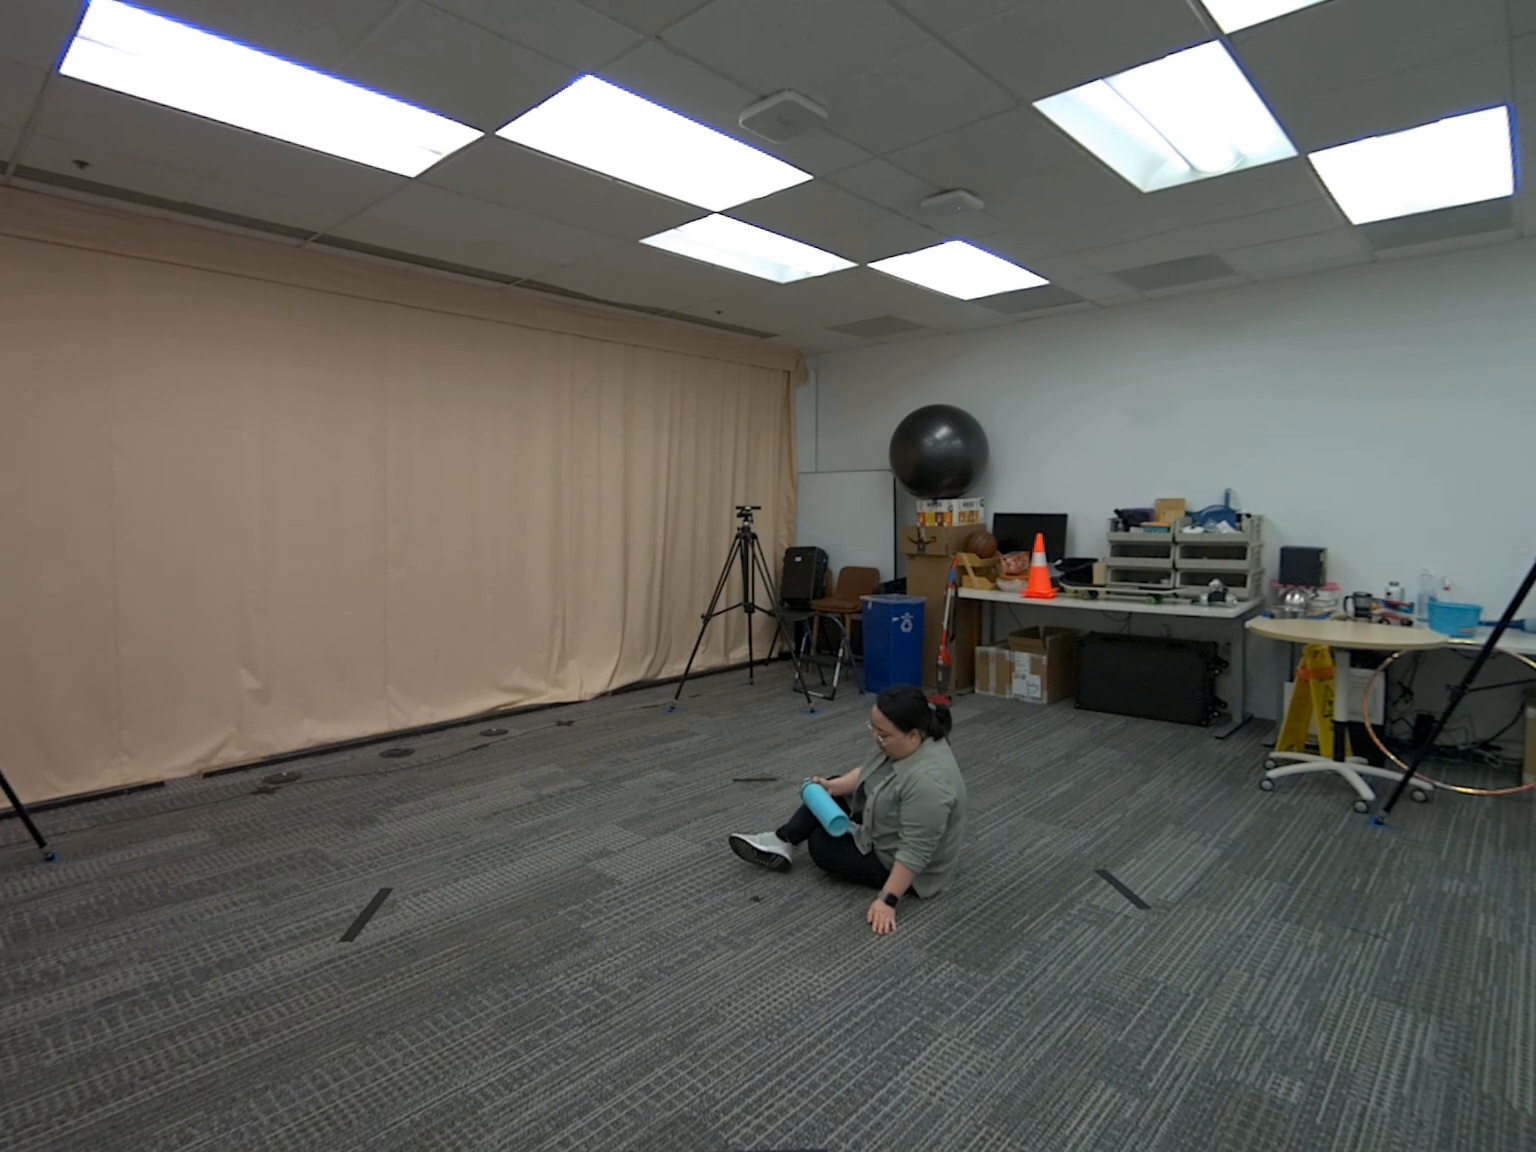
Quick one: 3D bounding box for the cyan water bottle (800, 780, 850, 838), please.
[{"bbox_3d":[0.203,0.854,3.098,0.090,0.091,0.291,-2,15,-22],"label":"cyan water bottle"}]
